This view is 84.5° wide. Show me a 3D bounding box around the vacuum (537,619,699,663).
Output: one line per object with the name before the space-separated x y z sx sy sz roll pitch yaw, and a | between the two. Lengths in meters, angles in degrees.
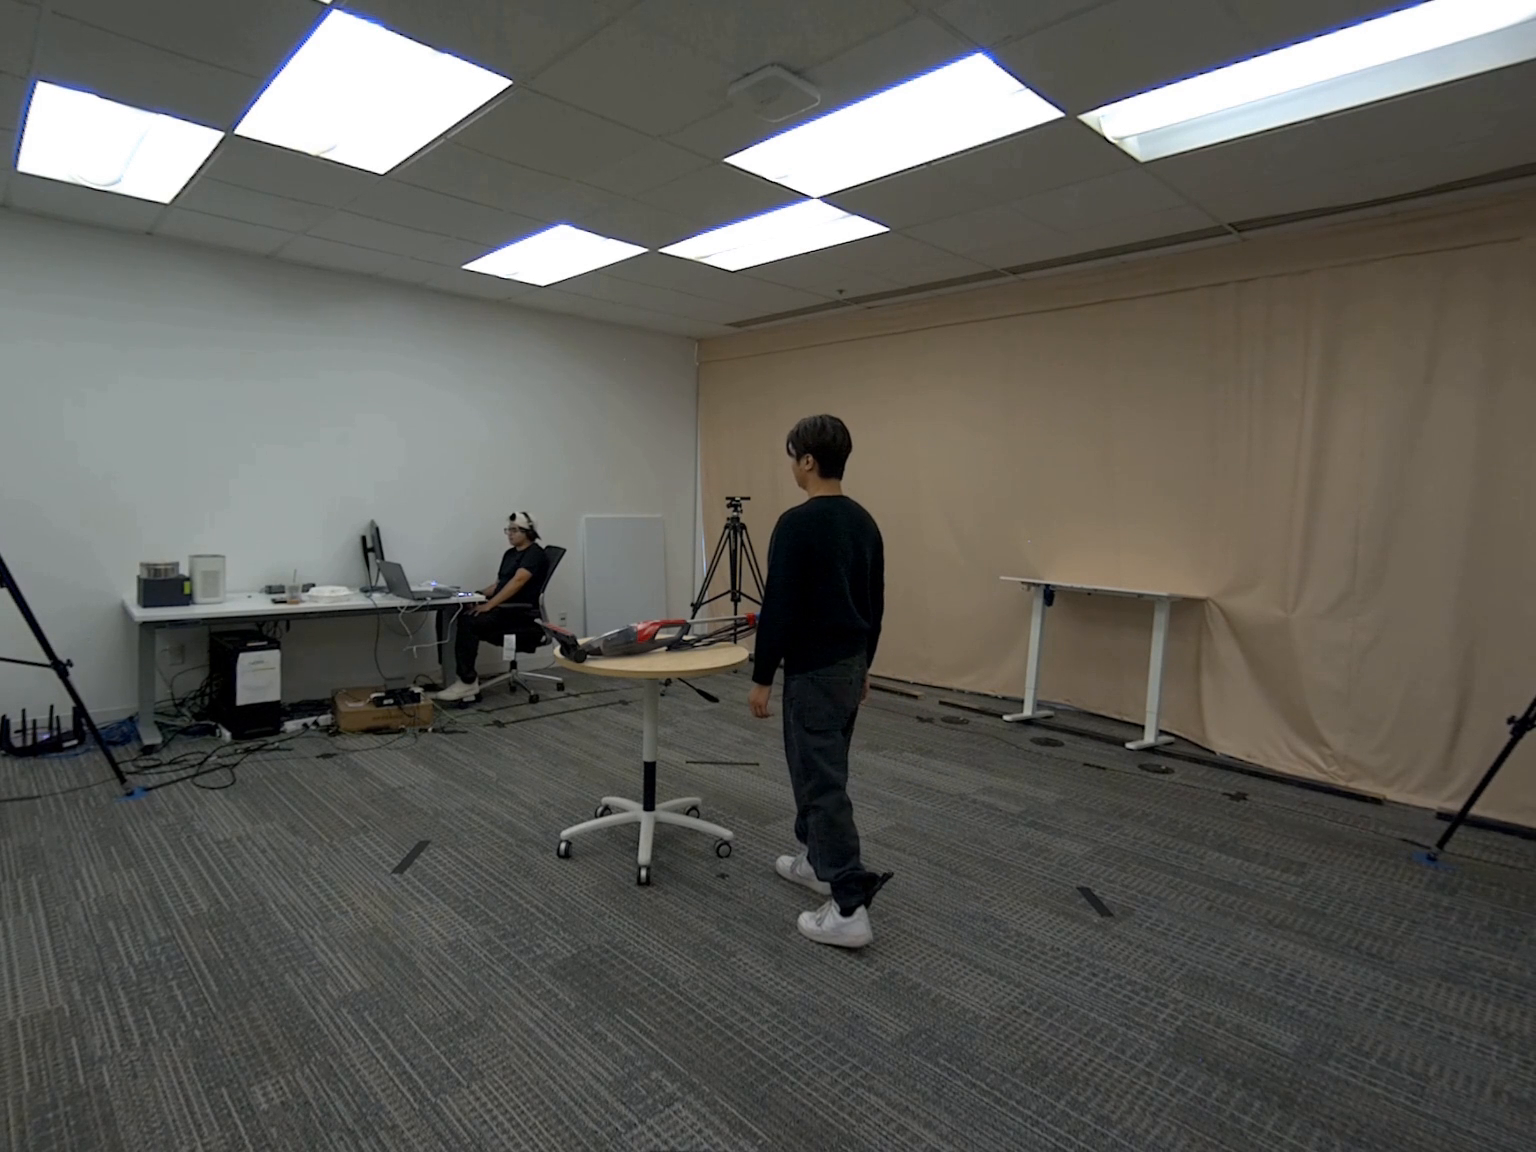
vacuum | -0.340 0.240 3.366 1.027 0.144 0.258 -2 5 -34
